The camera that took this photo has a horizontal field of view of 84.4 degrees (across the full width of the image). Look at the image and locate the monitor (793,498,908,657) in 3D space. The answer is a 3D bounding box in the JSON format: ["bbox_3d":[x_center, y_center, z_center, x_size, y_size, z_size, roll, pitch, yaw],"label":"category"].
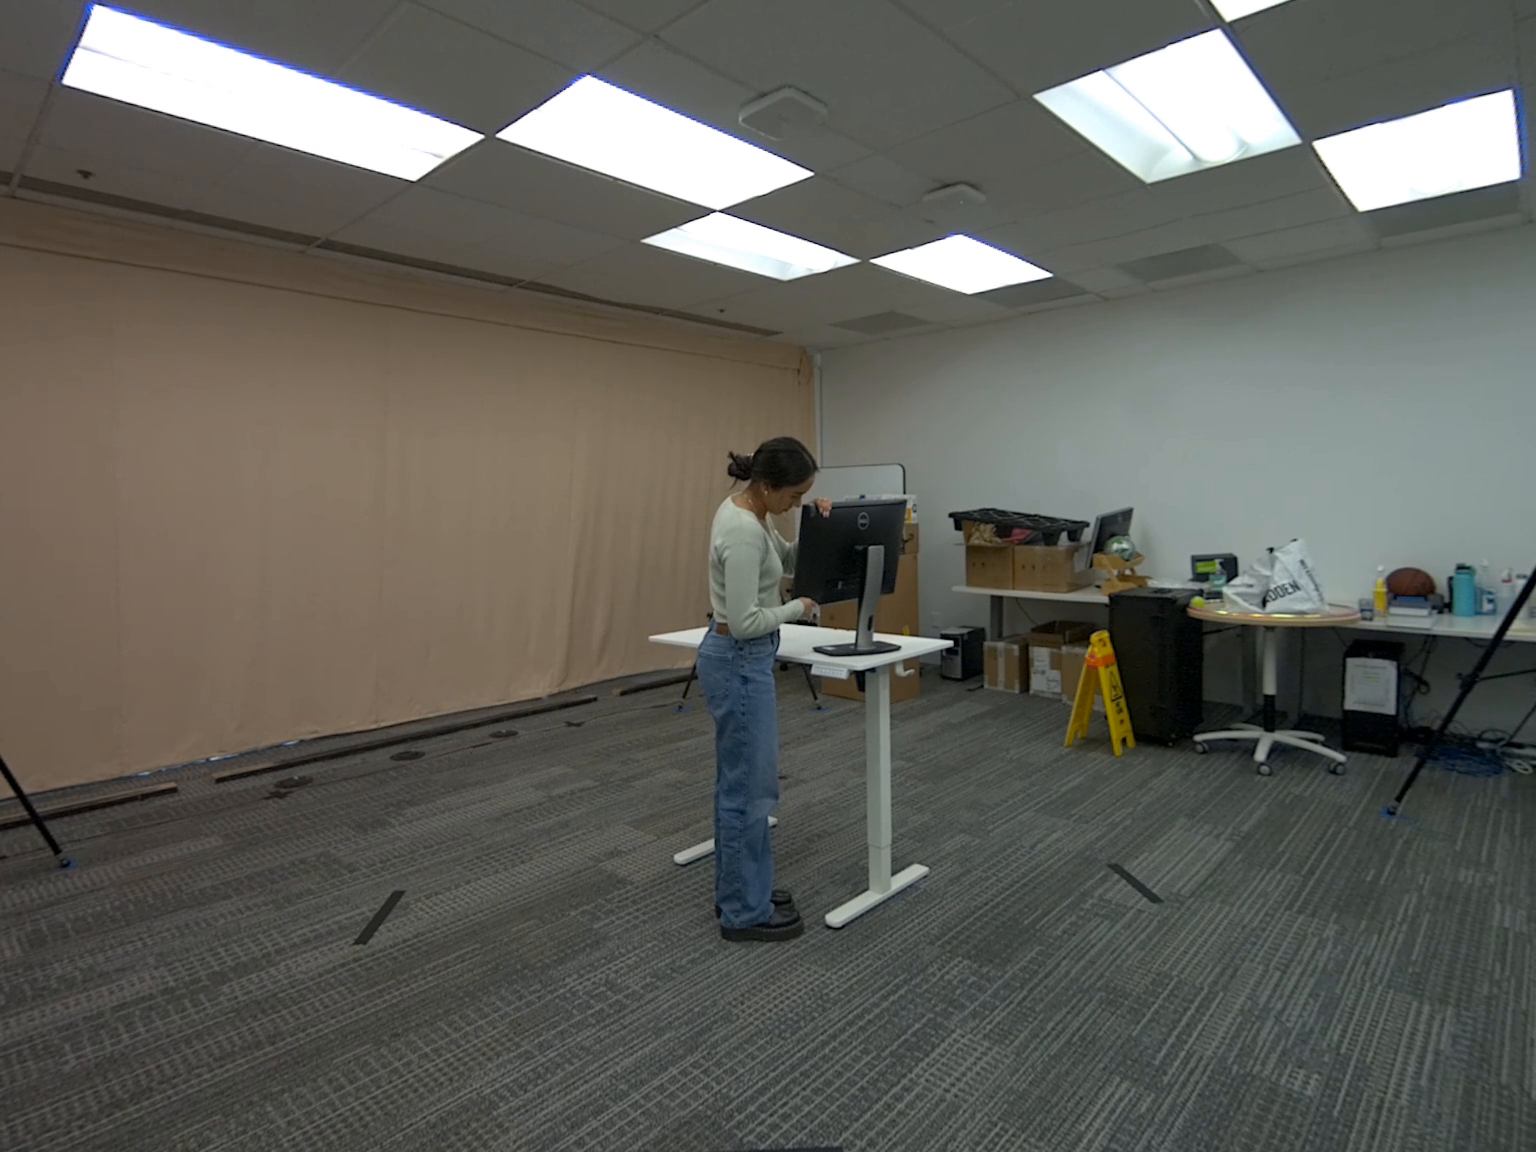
[{"bbox_3d":[0.318,0.007,2.856,0.523,0.521,0.193,-5,4,-43],"label":"monitor"}]
